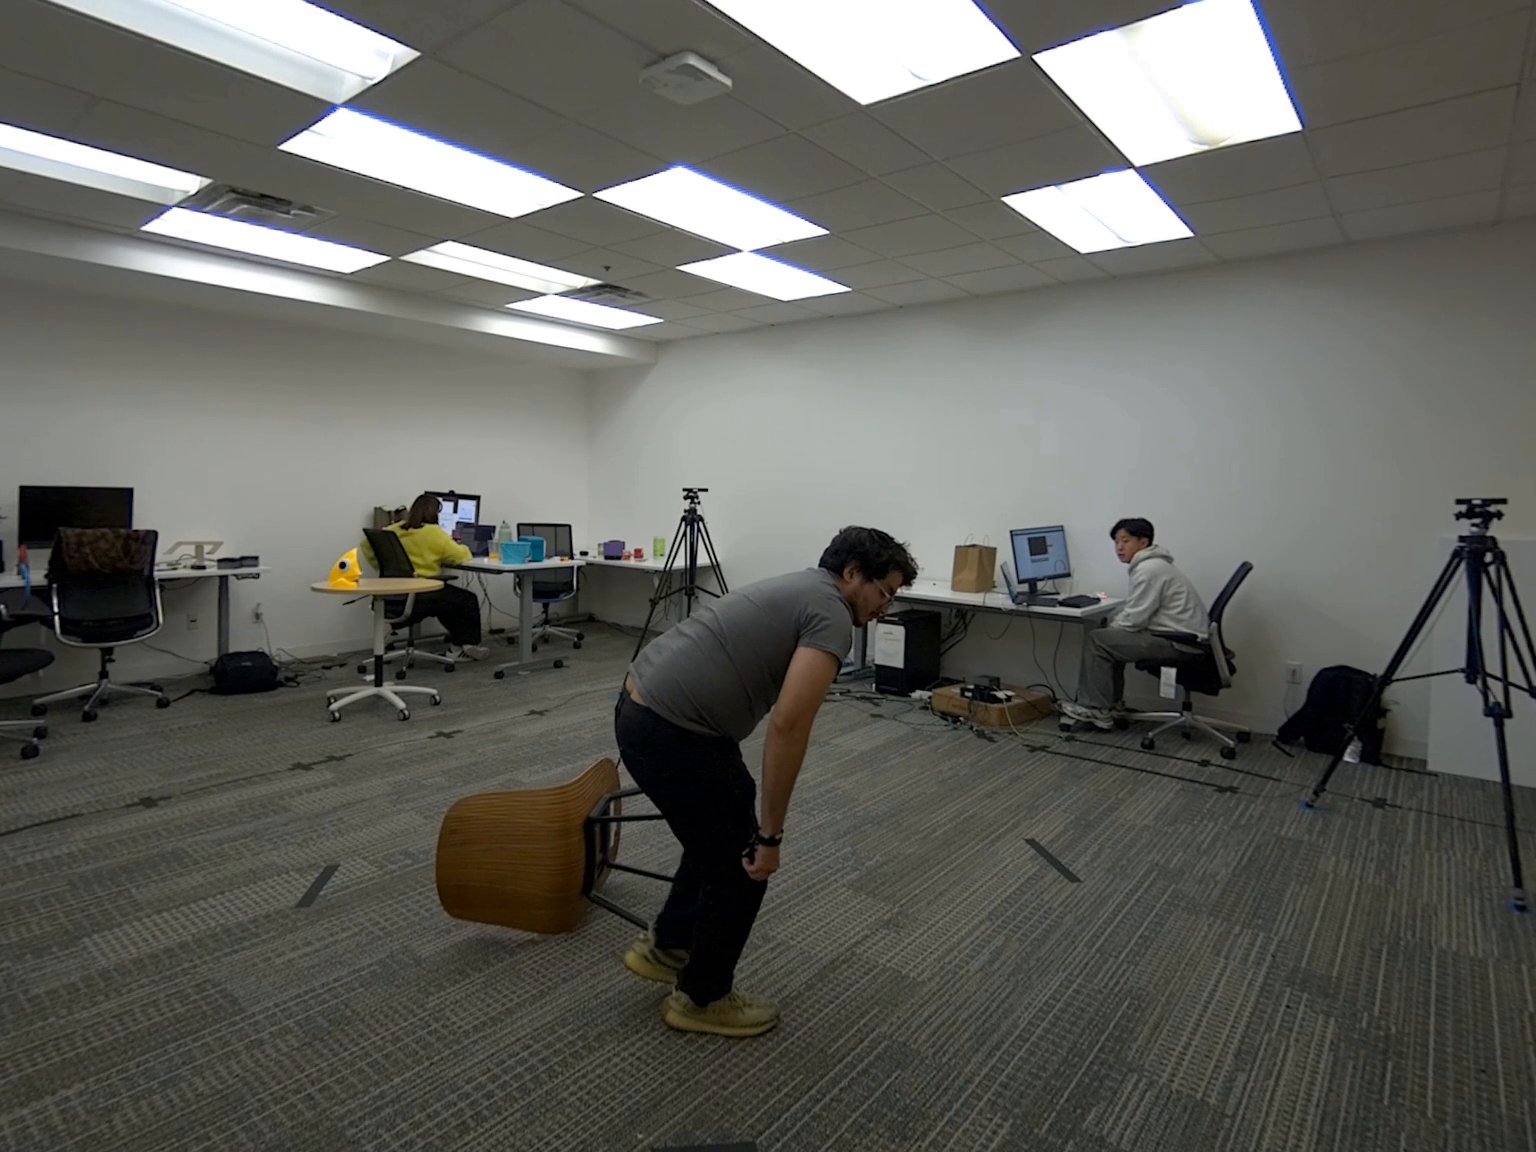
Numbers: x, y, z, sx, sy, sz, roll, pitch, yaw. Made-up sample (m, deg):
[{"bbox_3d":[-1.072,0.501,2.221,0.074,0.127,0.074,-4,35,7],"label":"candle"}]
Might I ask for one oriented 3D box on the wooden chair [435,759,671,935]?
[{"bbox_3d":[-0.563,0.866,2.753,0.884,0.477,0.521,1,3,6],"label":"wooden chair"}]
